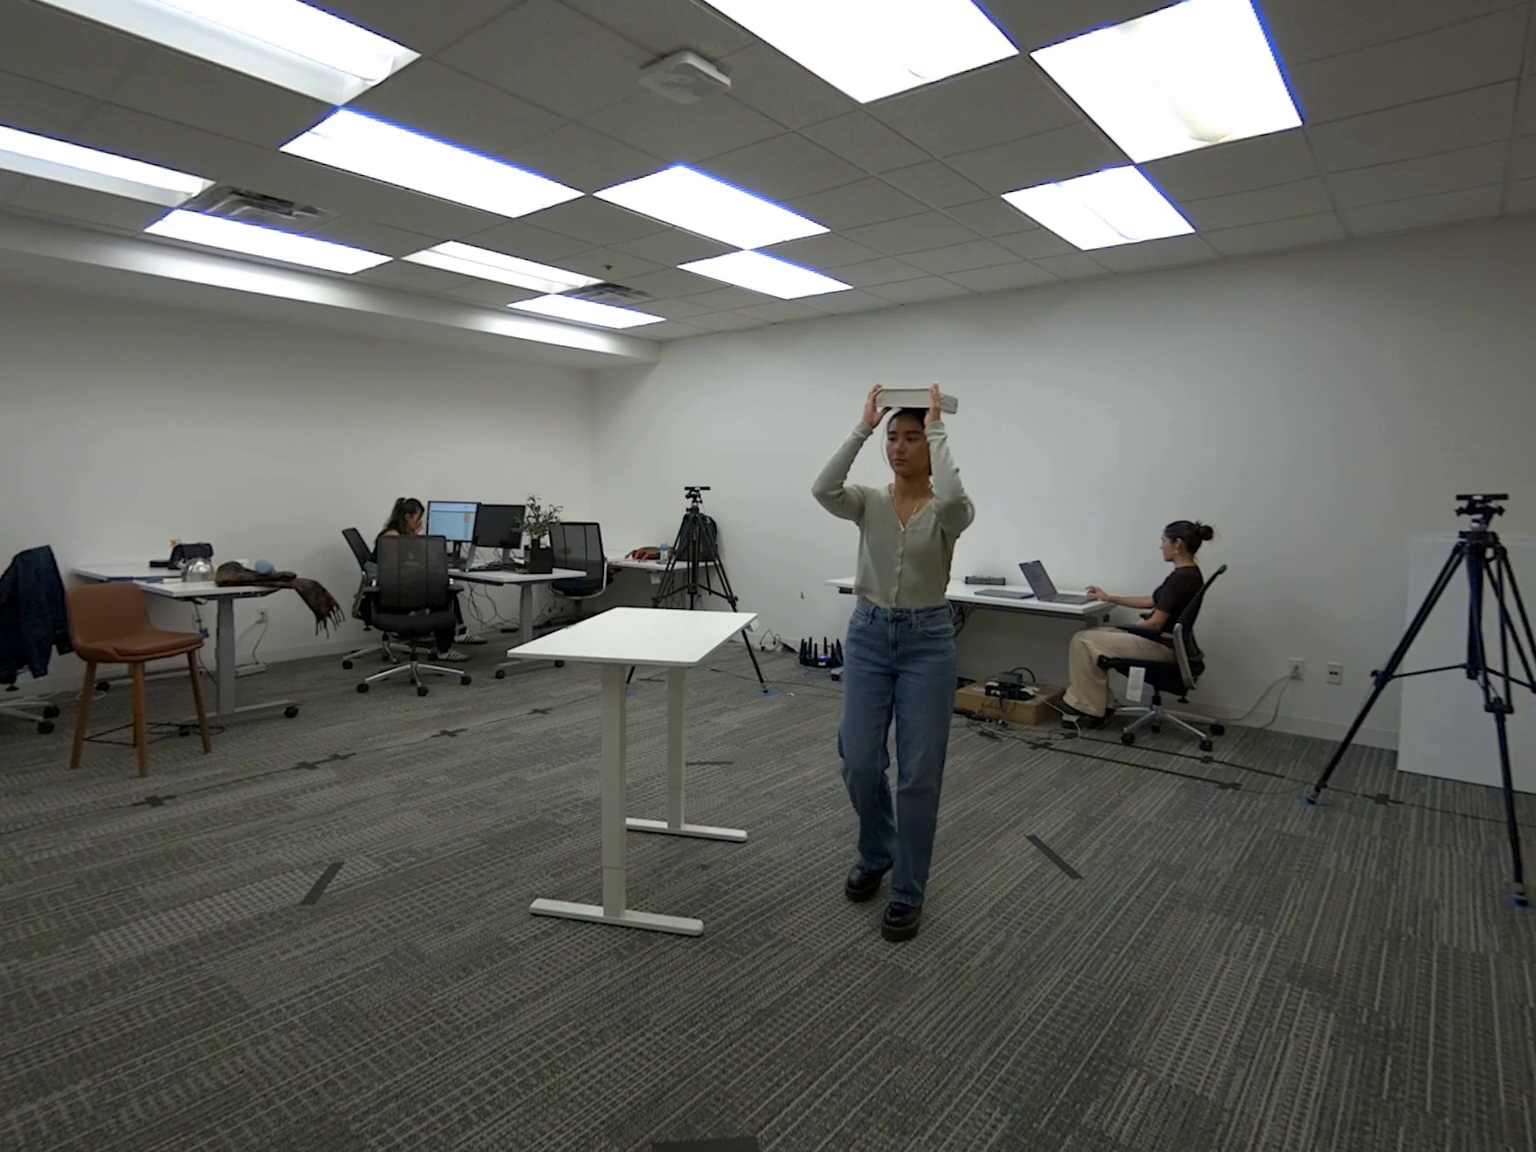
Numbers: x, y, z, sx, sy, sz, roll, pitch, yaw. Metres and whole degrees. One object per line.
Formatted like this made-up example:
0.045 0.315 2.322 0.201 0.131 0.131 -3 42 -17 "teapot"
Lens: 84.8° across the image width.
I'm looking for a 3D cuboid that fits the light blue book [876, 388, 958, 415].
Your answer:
0.470 -0.566 2.737 0.197 0.059 0.254 8 8 29 "light blue book"
